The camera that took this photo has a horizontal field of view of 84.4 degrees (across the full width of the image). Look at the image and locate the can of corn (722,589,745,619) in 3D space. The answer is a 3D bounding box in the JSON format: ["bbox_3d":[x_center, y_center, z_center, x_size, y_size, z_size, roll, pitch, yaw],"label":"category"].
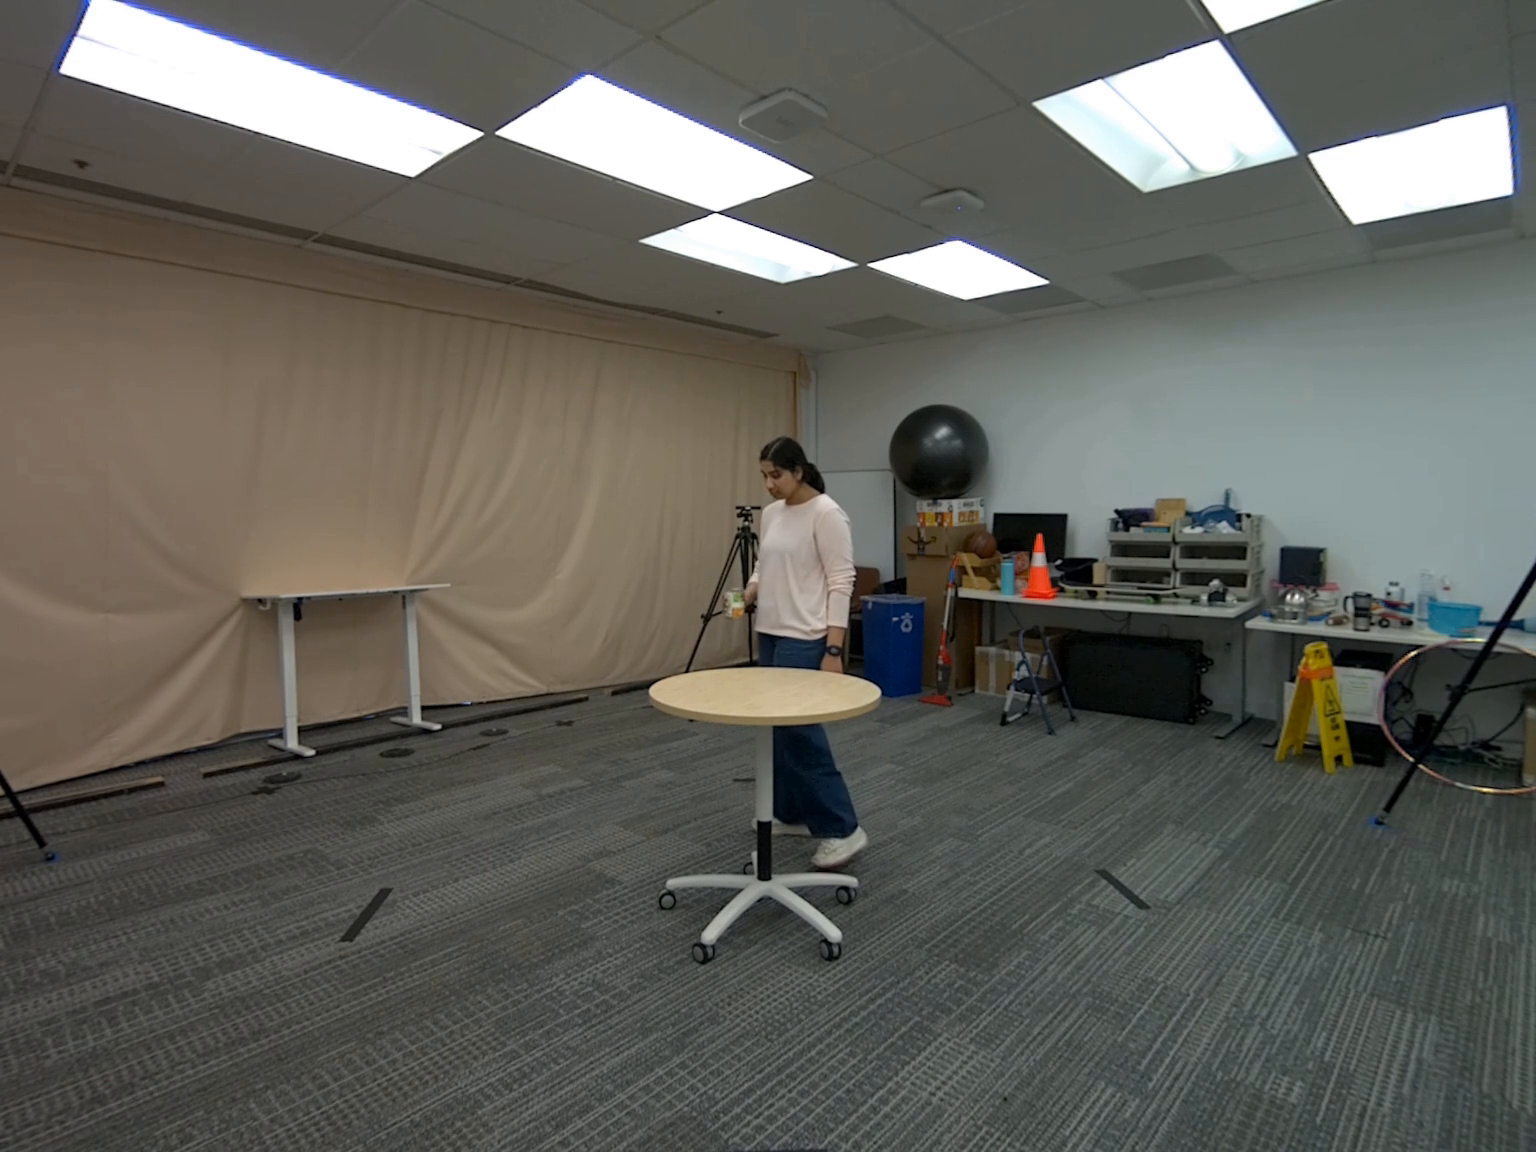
[{"bbox_3d":[-0.127,0.113,3.393,0.074,0.110,0.075,0,8,-2],"label":"can of corn"}]
